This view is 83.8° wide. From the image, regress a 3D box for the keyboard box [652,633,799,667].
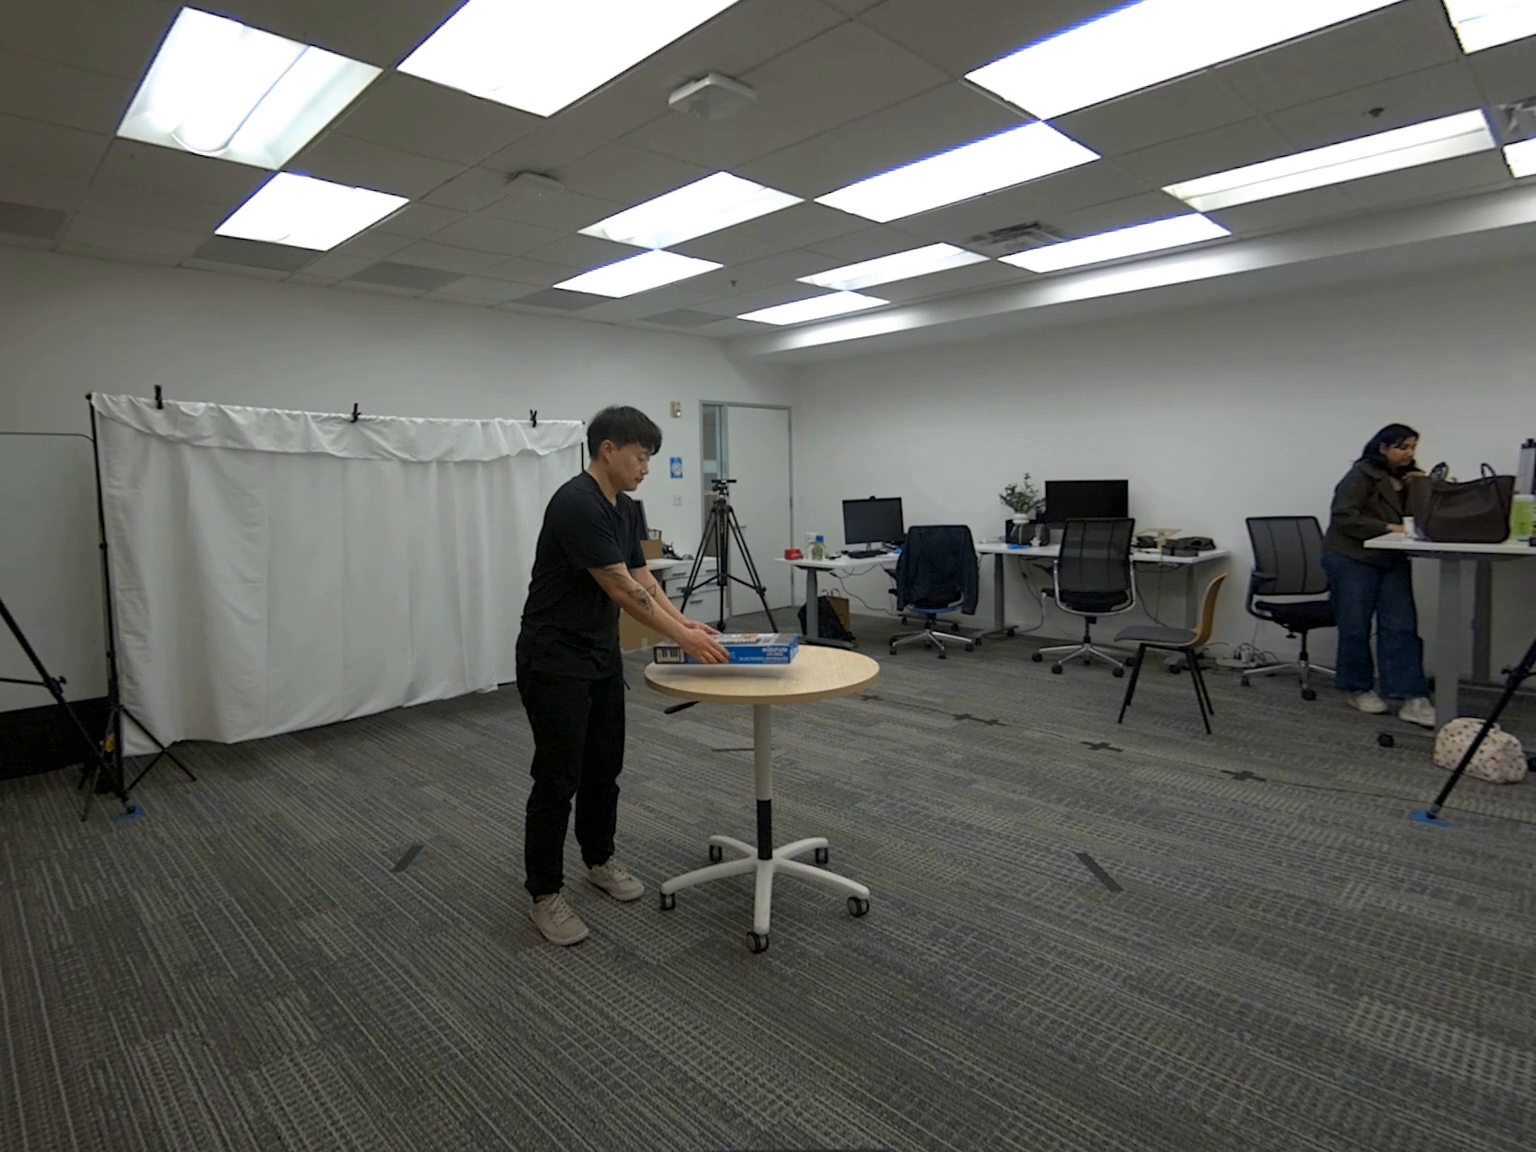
[{"bbox_3d":[-0.128,0.235,2.721,0.442,0.059,0.175,-3,8,12],"label":"keyboard box"}]
